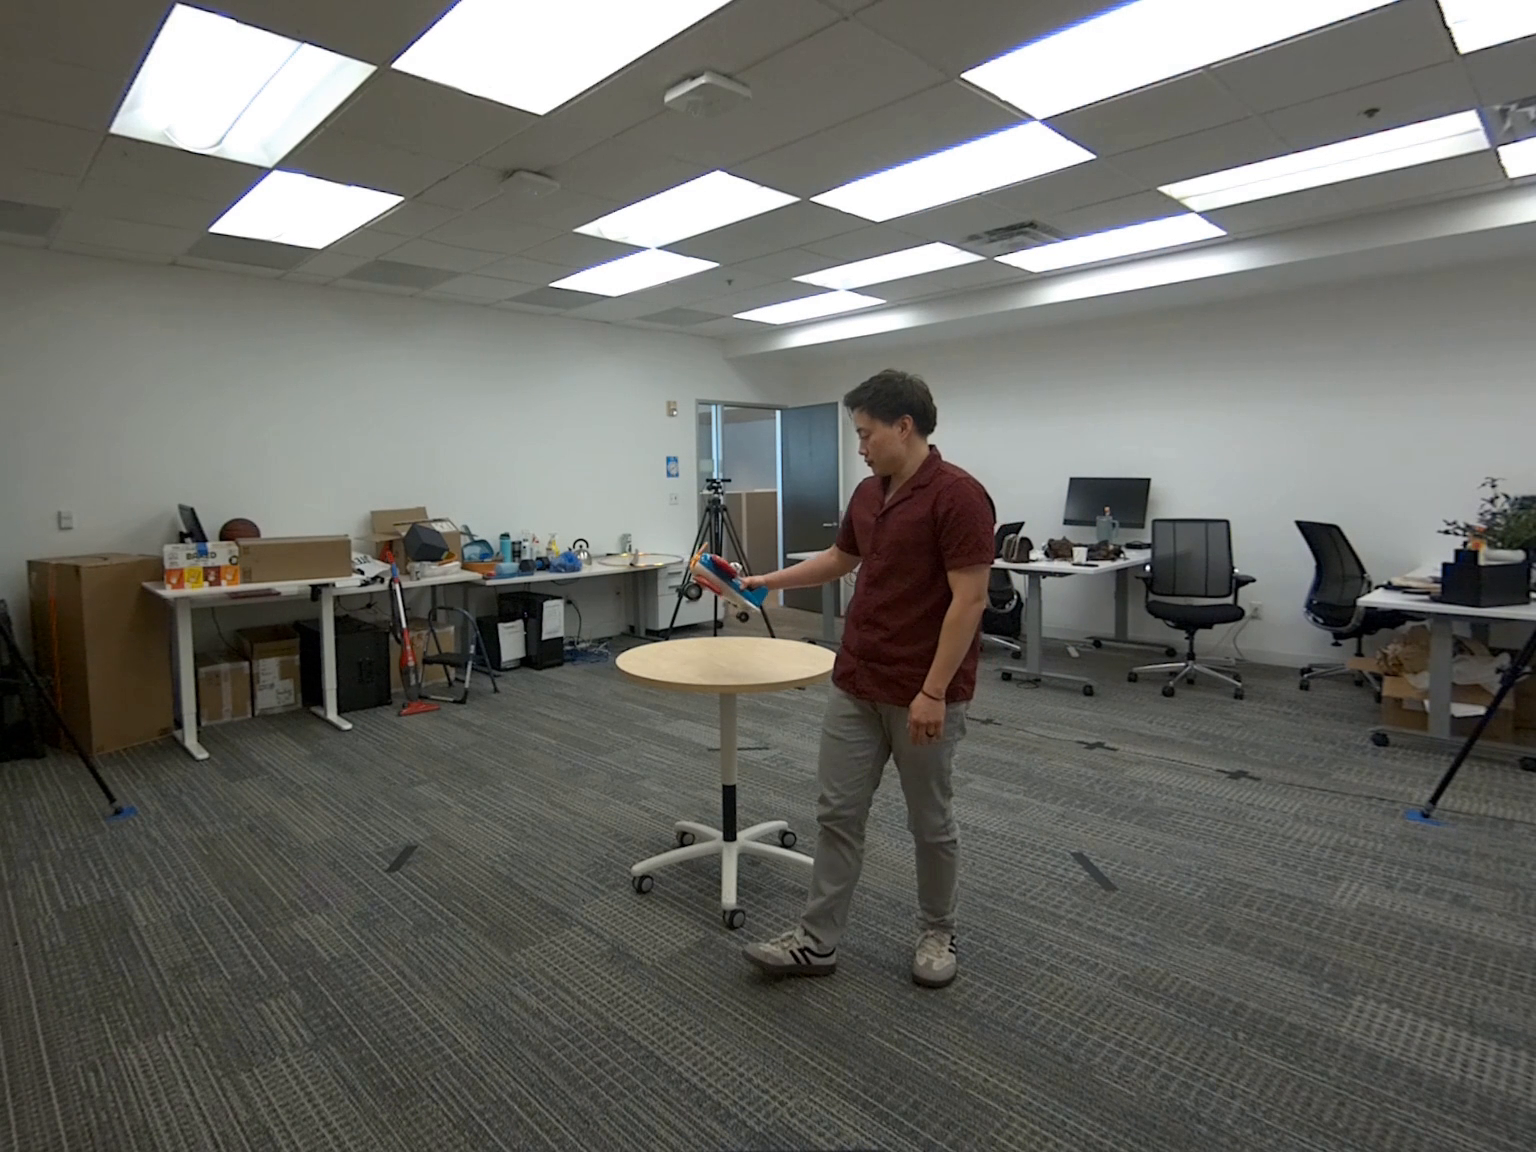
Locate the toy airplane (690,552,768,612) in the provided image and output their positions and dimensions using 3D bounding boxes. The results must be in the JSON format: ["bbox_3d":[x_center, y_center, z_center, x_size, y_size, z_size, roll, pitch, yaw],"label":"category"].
[{"bbox_3d":[-0.142,0.027,2.645,0.250,0.156,0.260,25,-2,-36],"label":"toy airplane"}]
